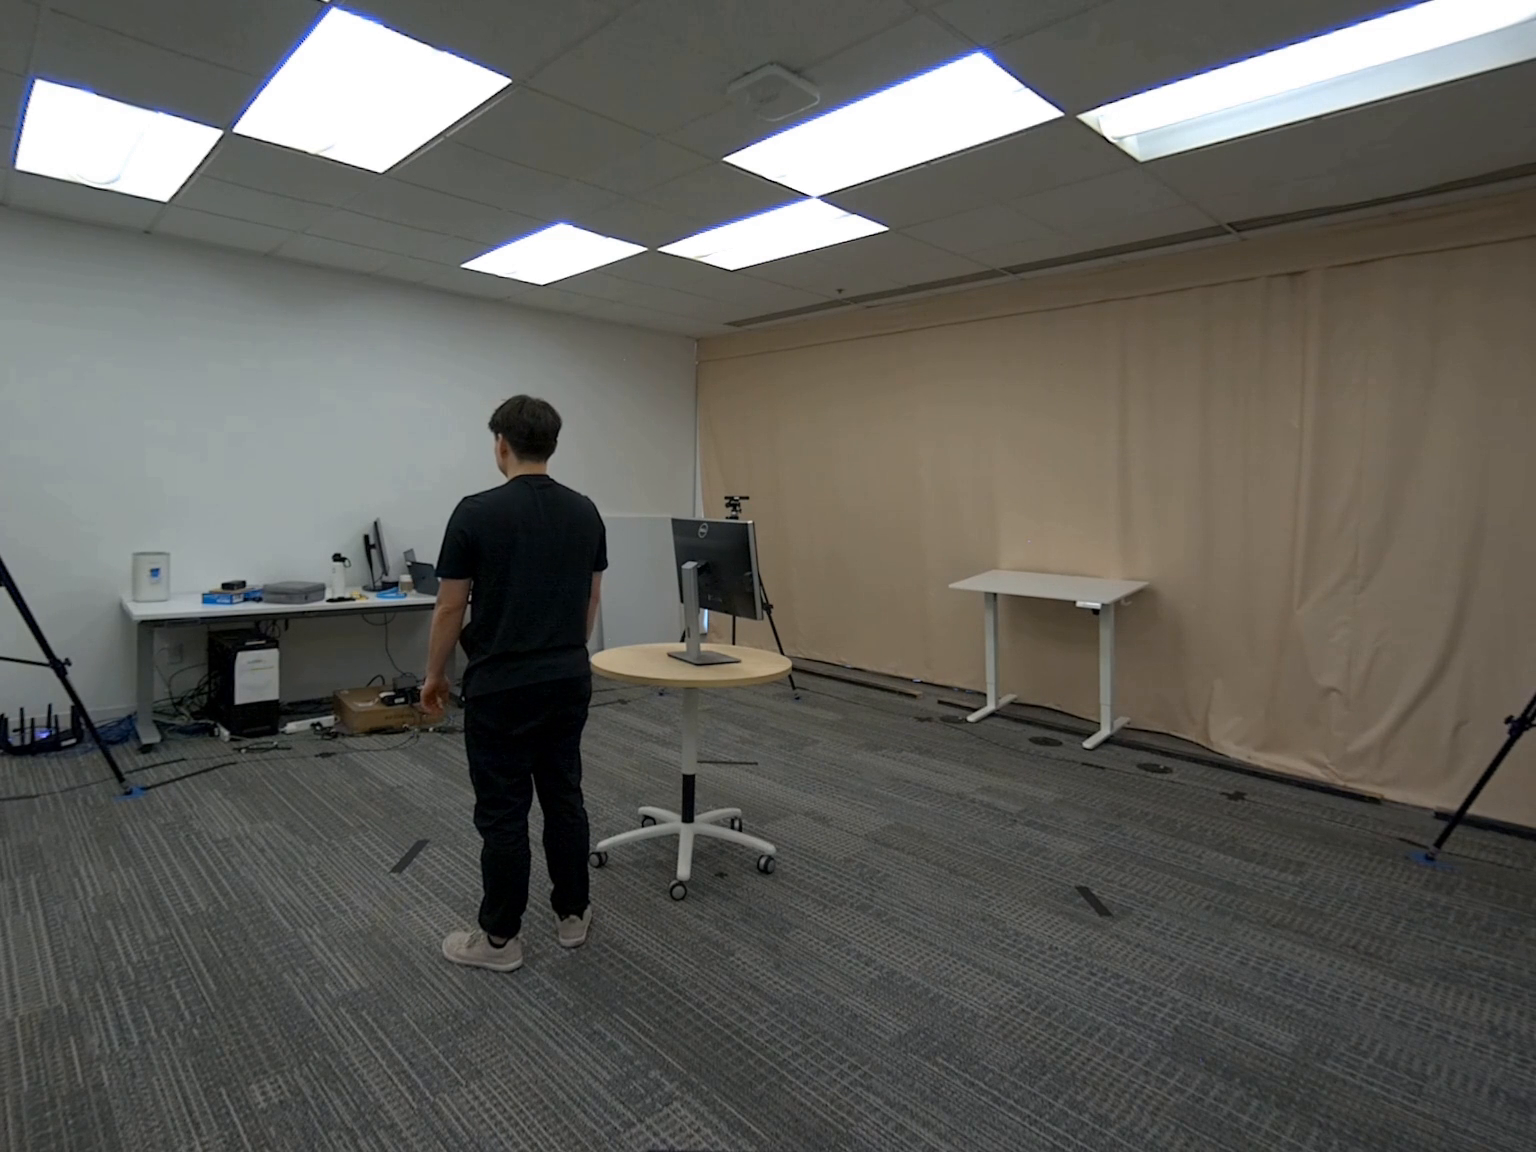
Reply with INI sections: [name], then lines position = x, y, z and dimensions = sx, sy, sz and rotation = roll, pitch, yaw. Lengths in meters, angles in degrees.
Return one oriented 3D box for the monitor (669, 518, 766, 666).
[monitor]
position = -0.246, 0.057, 3.222
dimensions = 0.183, 0.521, 0.552
rotation = 1, 4, -37
